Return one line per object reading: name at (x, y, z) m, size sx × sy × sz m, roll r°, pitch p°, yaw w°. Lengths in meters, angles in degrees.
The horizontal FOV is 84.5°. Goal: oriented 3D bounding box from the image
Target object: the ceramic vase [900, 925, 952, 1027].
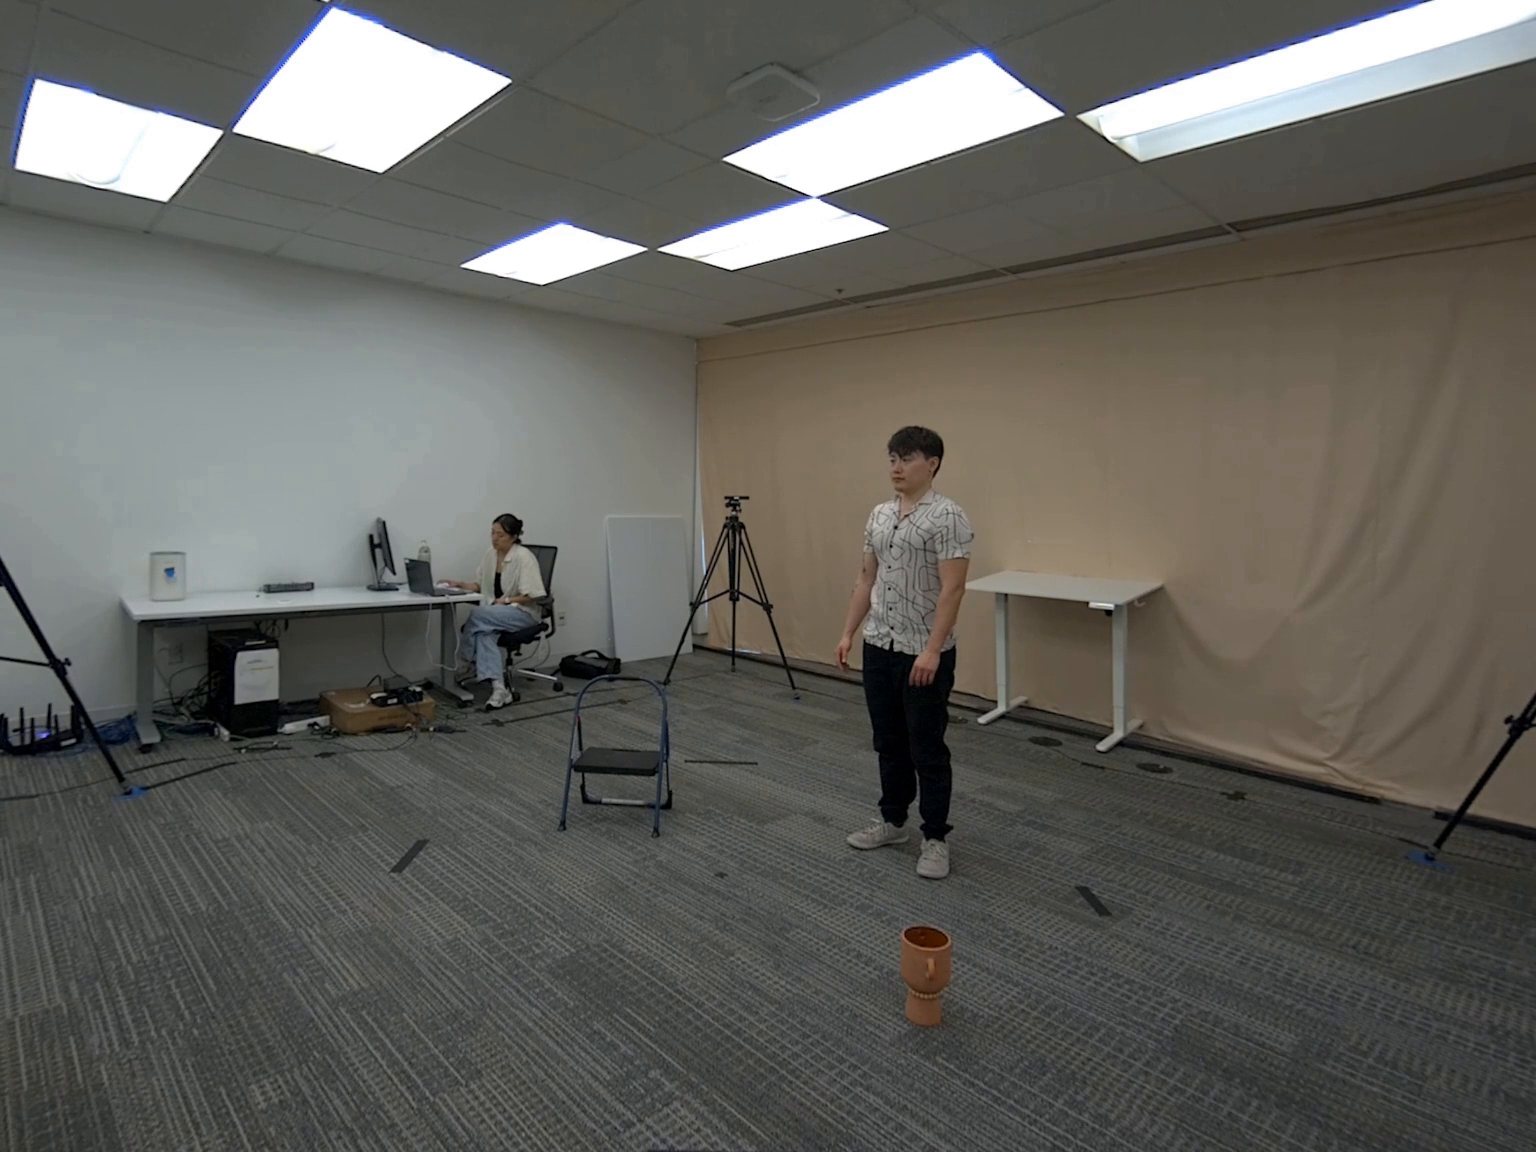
ceramic vase at (0.419, 1.086, 2.275) m, size 0.138 × 0.219 × 0.155 m, roll 5°, pitch 6°, yaw 41°
